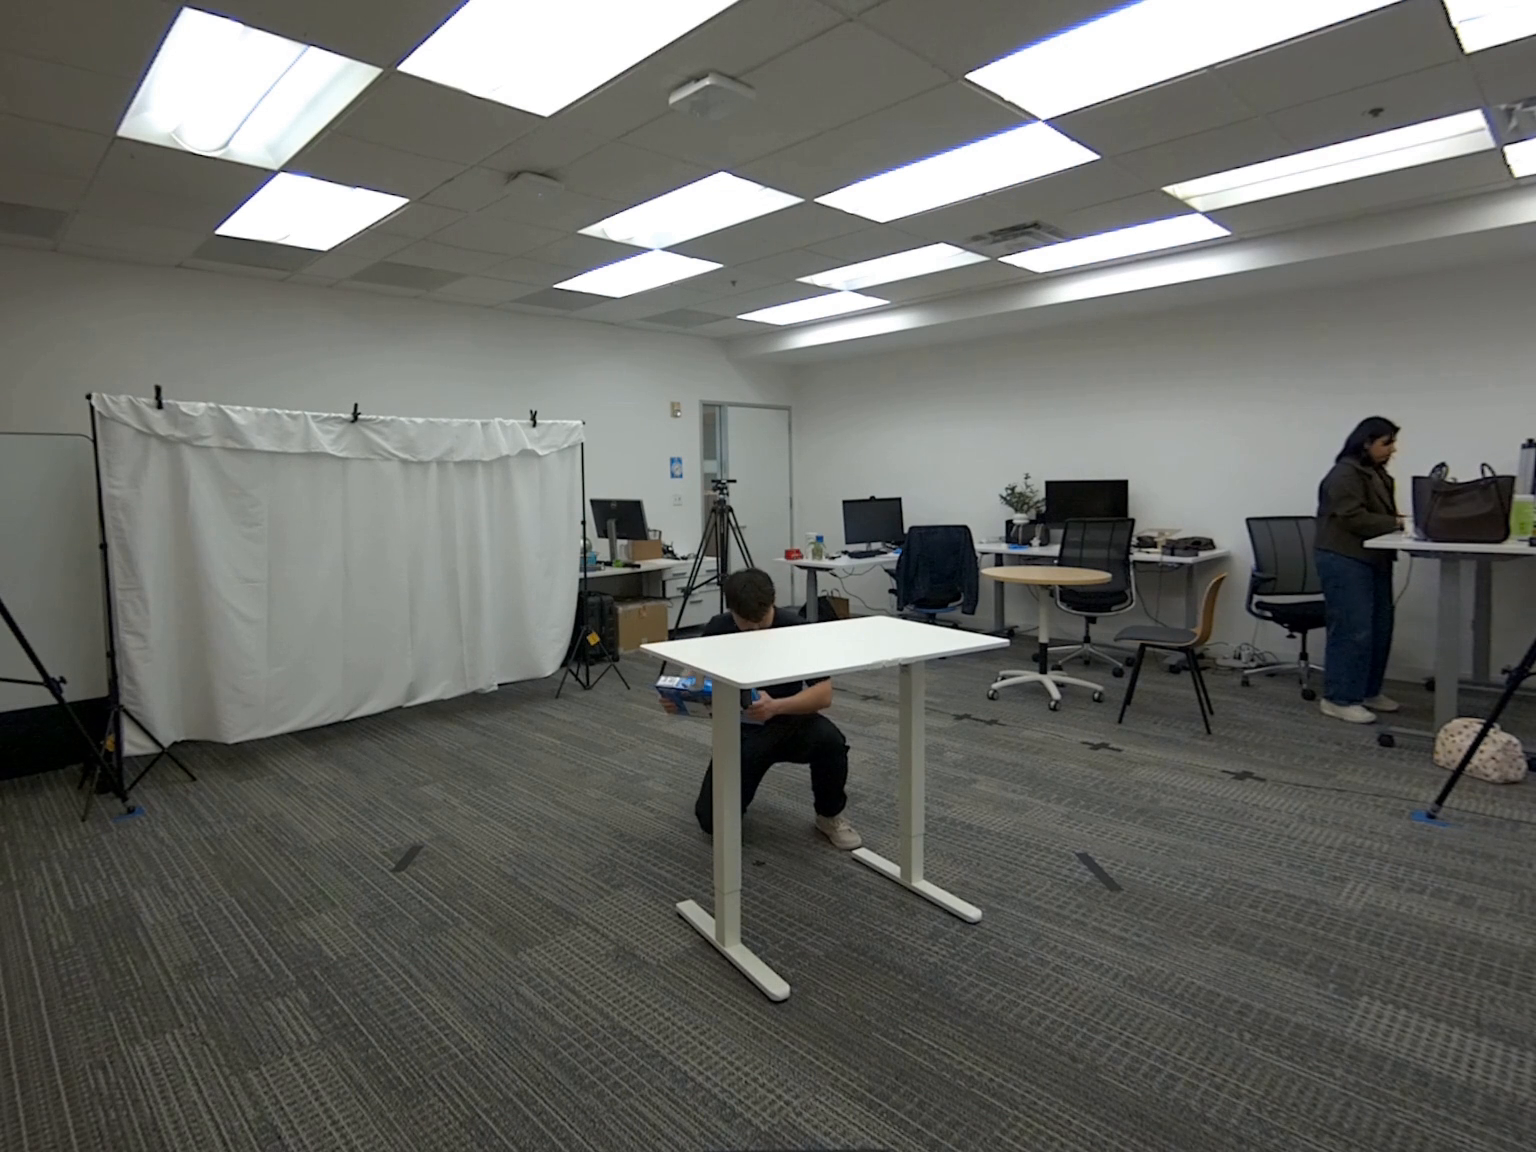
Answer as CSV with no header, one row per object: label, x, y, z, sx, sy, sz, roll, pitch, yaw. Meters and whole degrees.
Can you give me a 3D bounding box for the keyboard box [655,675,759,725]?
keyboard box,-0.217,0.467,3.278,0.448,0.170,0.059,1,43,33
